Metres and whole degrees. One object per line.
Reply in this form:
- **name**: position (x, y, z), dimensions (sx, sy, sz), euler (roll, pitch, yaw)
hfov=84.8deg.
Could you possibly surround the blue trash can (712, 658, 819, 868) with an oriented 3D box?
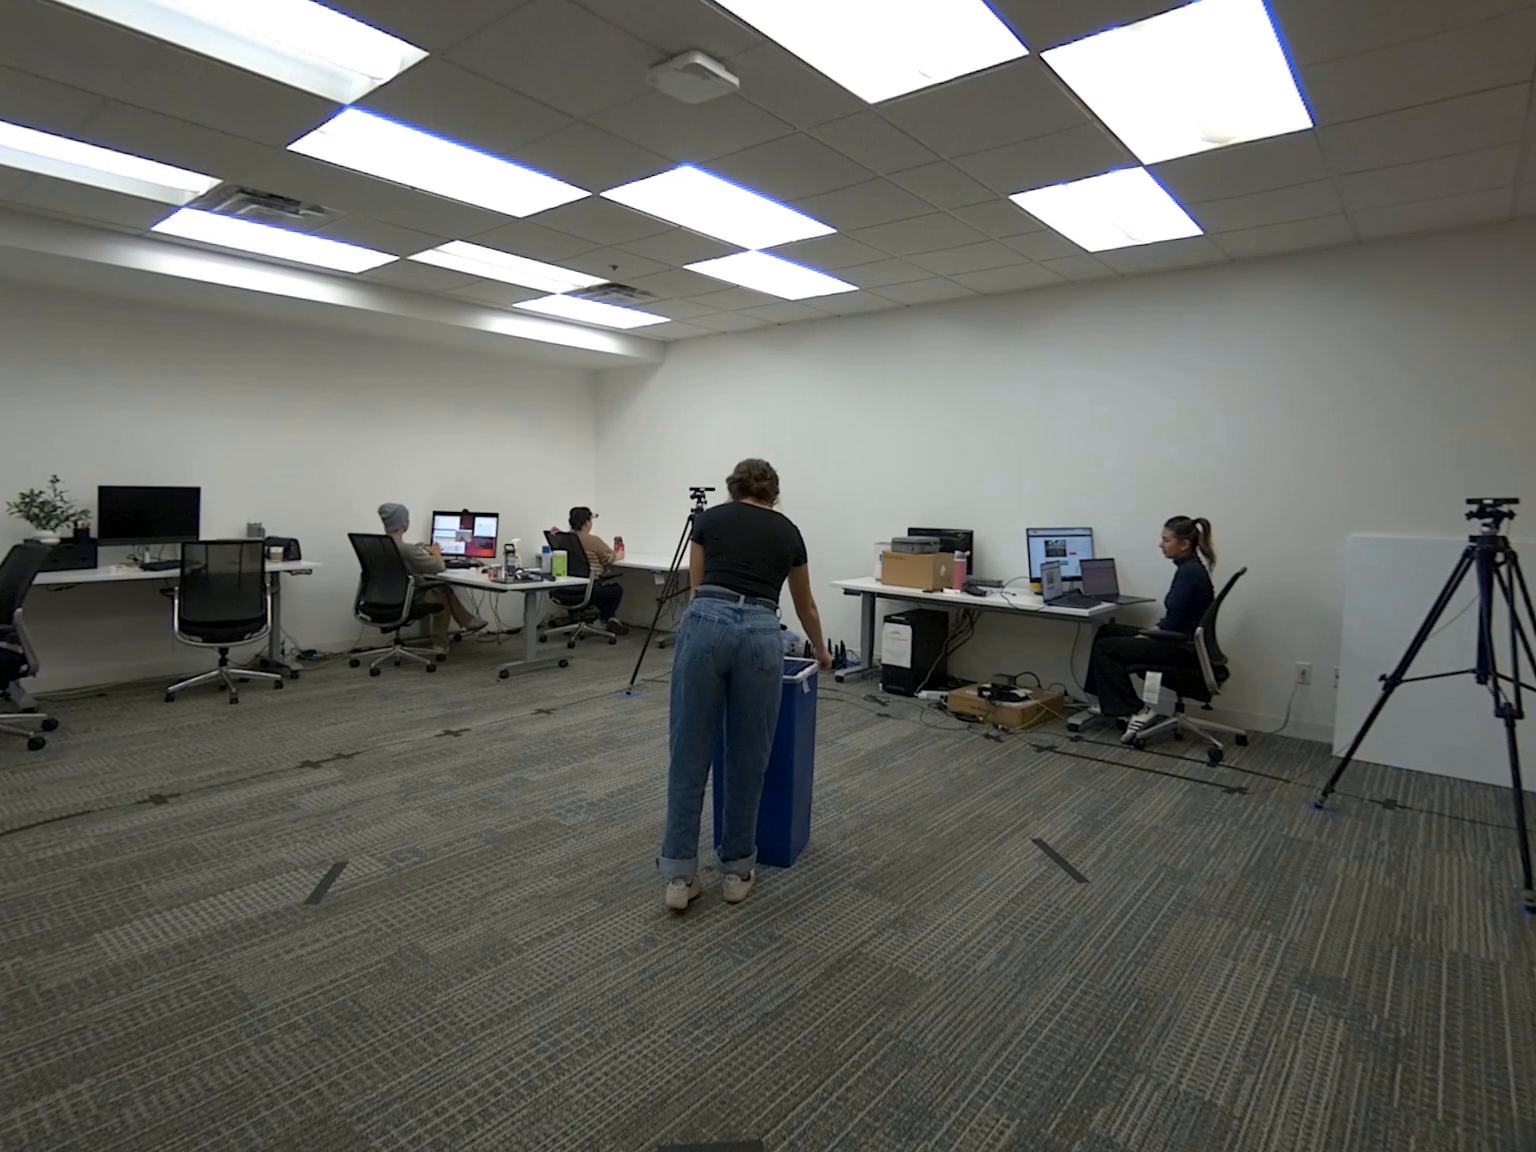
- **blue trash can**: position (-0.027, 0.692, 3.296), dimensions (0.382, 0.712, 0.371), euler (2, 3, 20)
